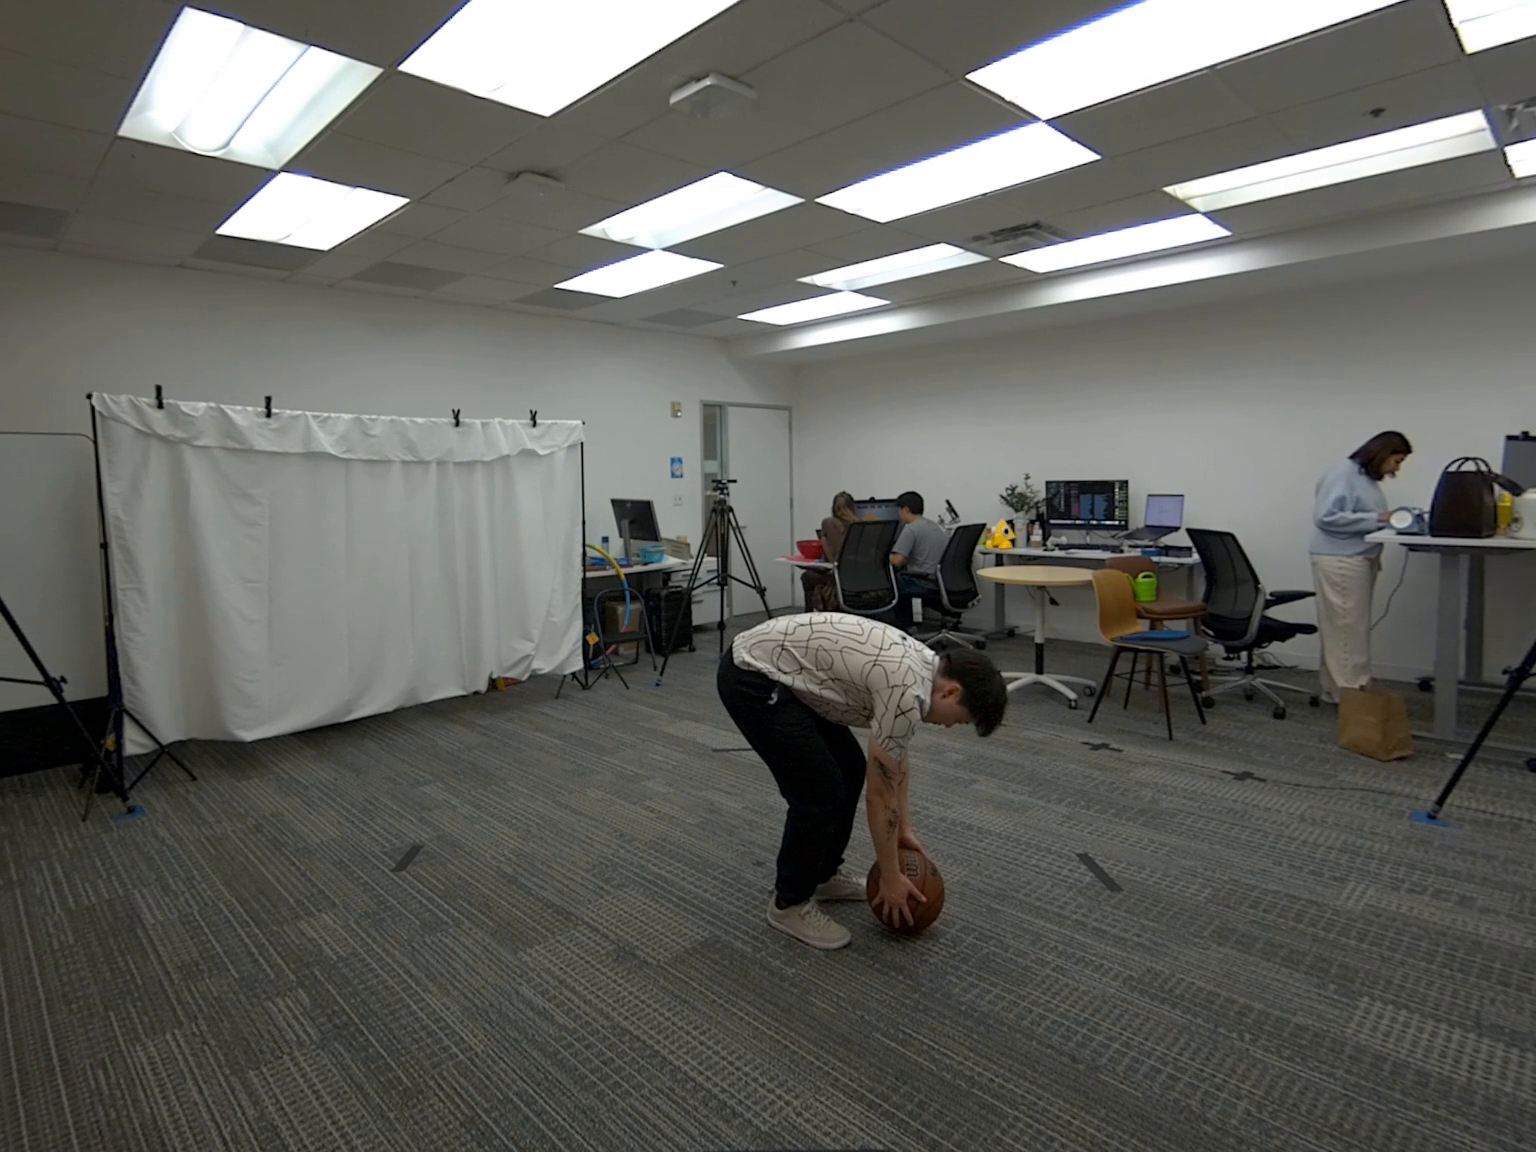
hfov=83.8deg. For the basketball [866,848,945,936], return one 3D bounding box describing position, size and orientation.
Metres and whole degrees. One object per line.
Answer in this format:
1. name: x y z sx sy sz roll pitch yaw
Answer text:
1. basketball: 0.427 0.964 2.641 0.236 0.235 0.237 -1 5 -2
